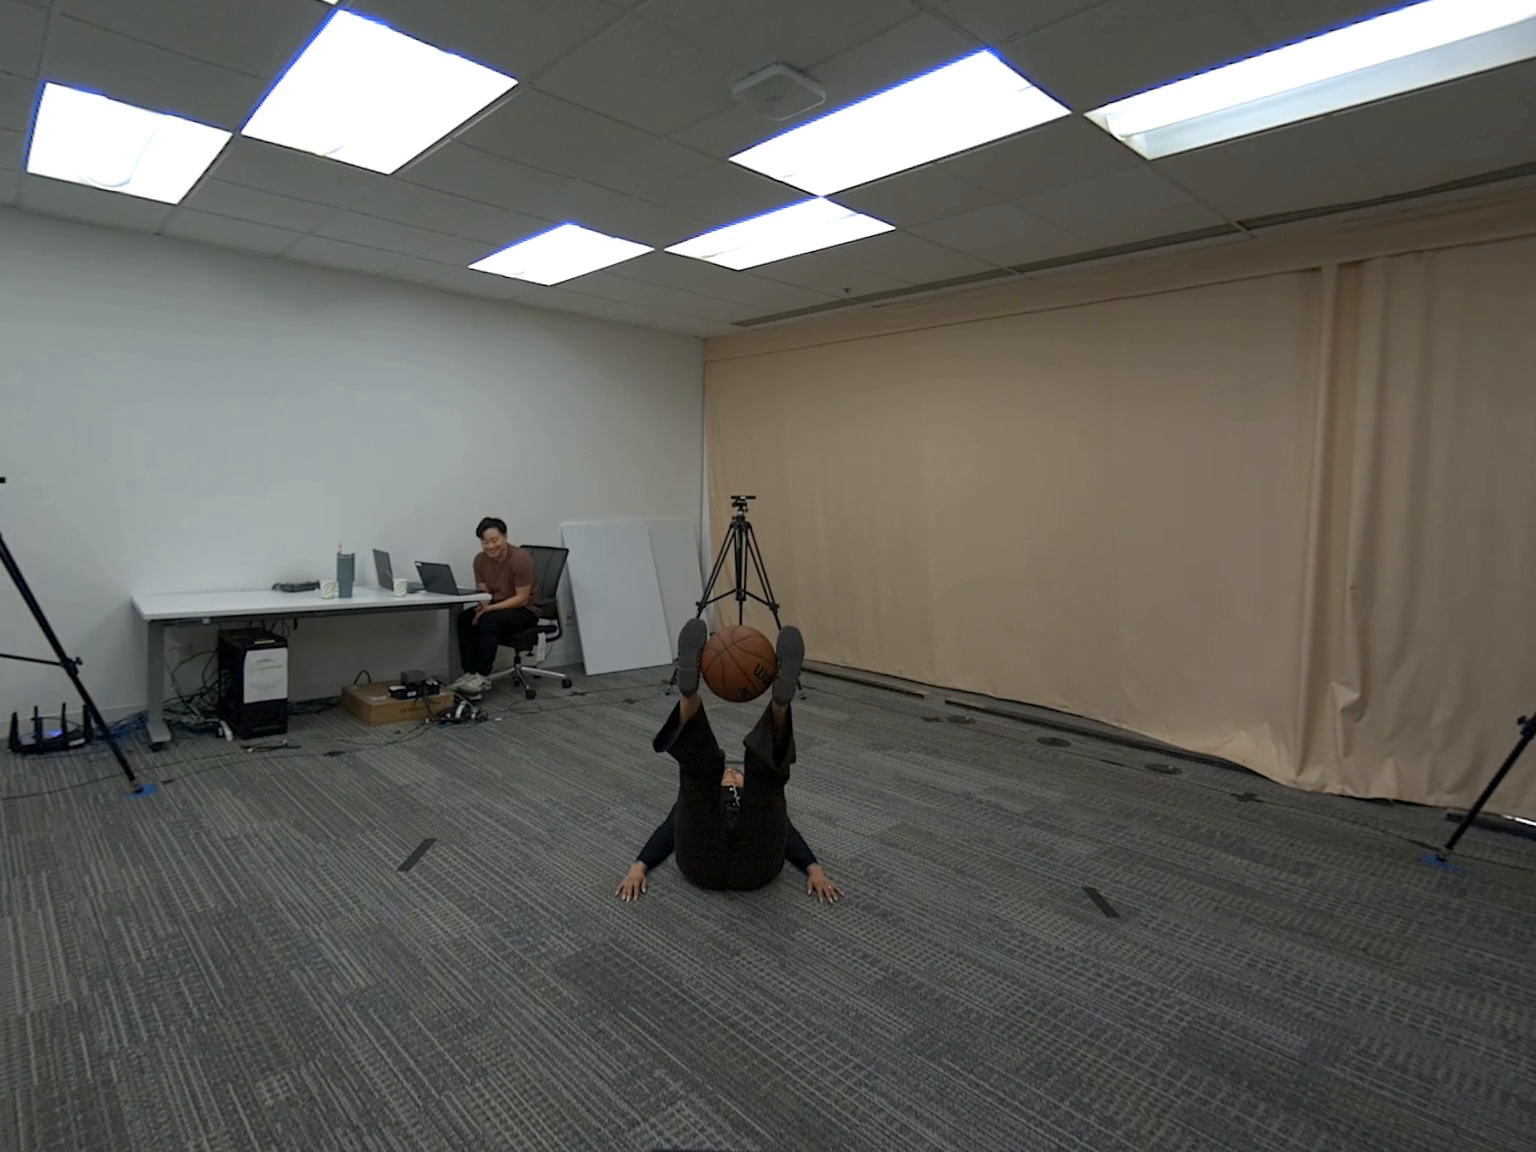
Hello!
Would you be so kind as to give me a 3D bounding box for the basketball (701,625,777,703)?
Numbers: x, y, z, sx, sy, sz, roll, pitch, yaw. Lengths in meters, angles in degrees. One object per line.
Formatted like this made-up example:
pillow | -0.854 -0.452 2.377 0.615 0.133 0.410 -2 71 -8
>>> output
basketball | -0.102 0.269 2.594 0.235 0.235 0.237 4 5 -2
